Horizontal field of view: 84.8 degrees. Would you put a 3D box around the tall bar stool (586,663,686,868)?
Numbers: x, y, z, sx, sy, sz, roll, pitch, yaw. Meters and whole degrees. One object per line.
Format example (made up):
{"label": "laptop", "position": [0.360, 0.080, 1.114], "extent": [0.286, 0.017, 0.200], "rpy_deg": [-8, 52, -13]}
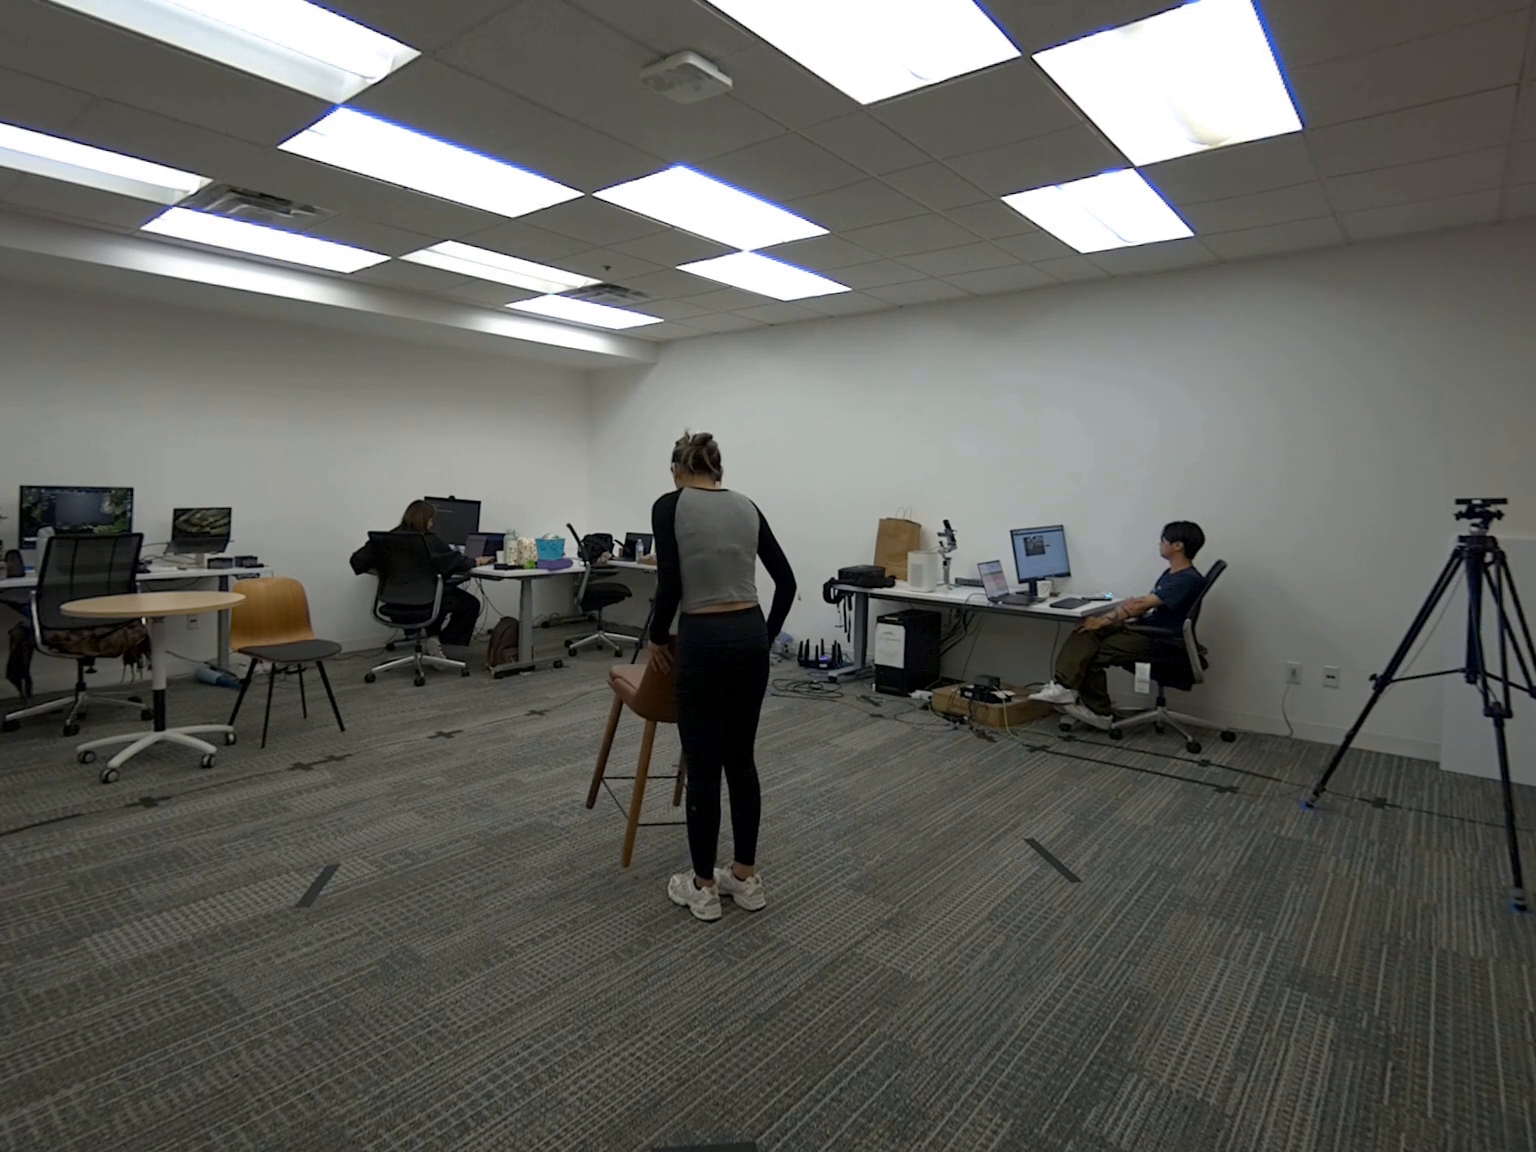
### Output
{"label": "tall bar stool", "position": [-0.384, 0.577, 3.224], "extent": [0.444, 0.883, 0.484], "rpy_deg": [6, 12, -27]}
